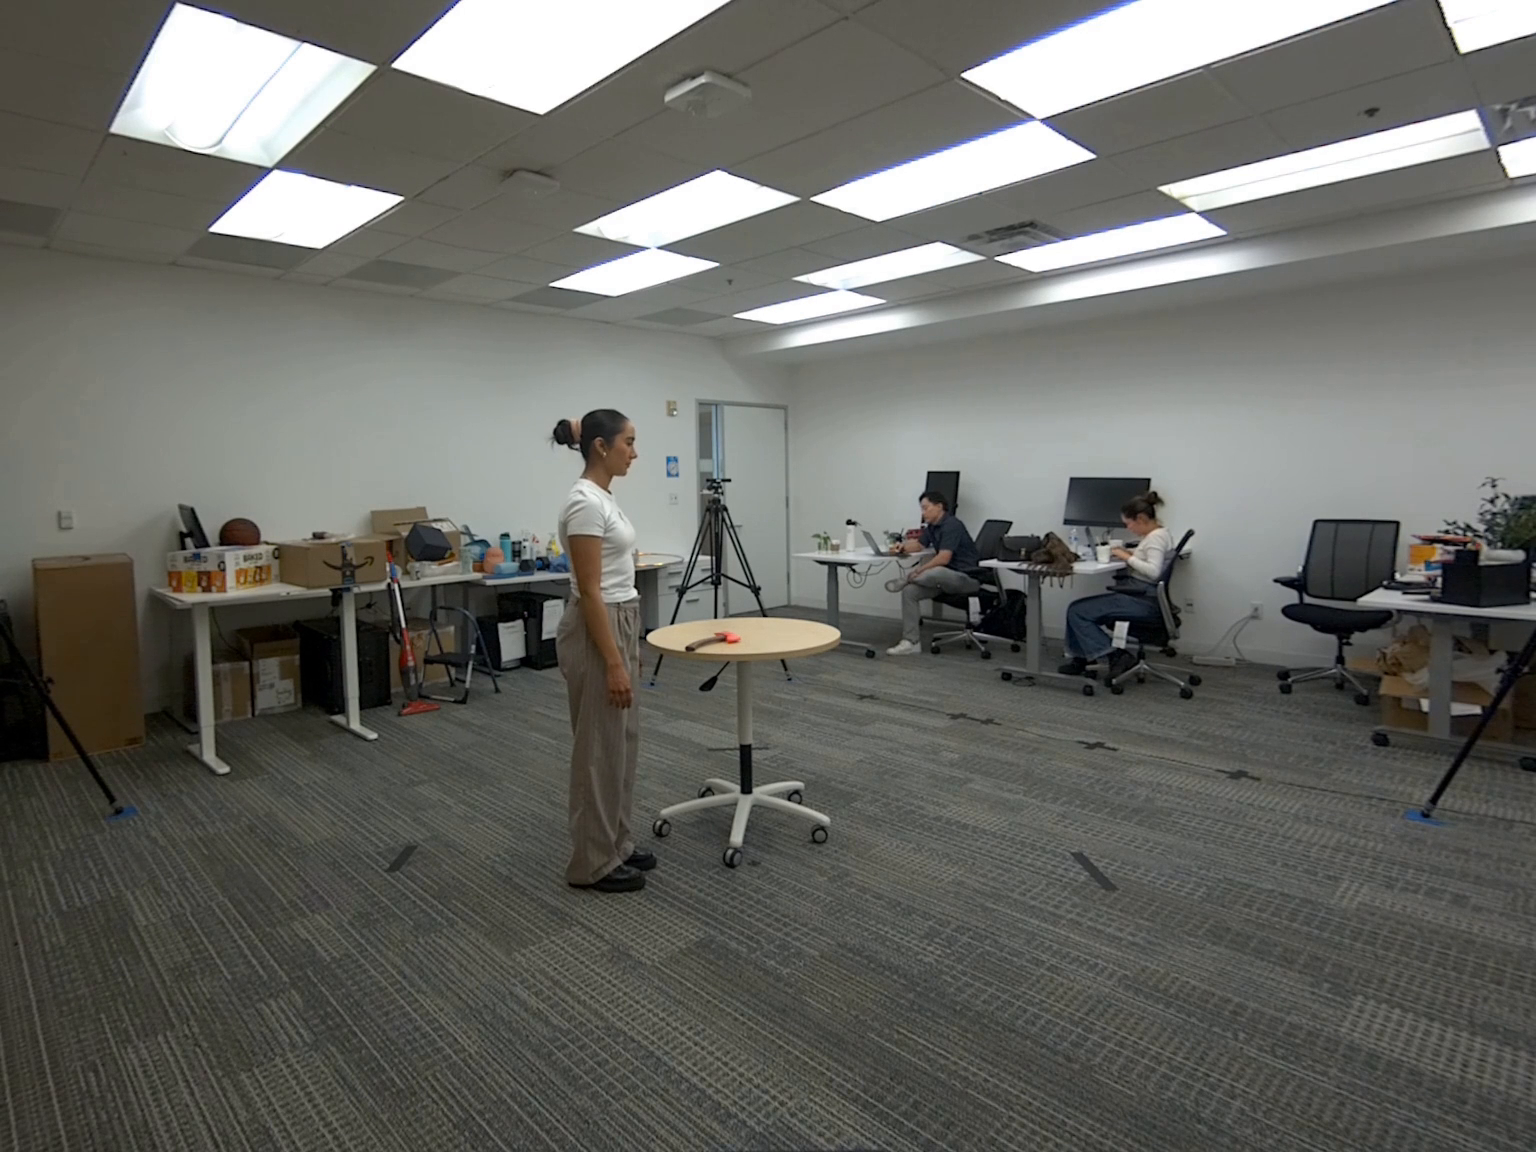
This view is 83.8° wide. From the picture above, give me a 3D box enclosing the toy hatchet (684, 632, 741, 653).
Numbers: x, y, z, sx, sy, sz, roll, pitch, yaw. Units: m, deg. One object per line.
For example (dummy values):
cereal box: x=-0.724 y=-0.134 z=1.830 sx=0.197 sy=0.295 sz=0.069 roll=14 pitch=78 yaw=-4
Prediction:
toy hatchet: x=-0.197 y=0.248 z=3.167 sx=0.134 sy=0.029 sz=0.266 roll=6 pitch=11 yaw=23
